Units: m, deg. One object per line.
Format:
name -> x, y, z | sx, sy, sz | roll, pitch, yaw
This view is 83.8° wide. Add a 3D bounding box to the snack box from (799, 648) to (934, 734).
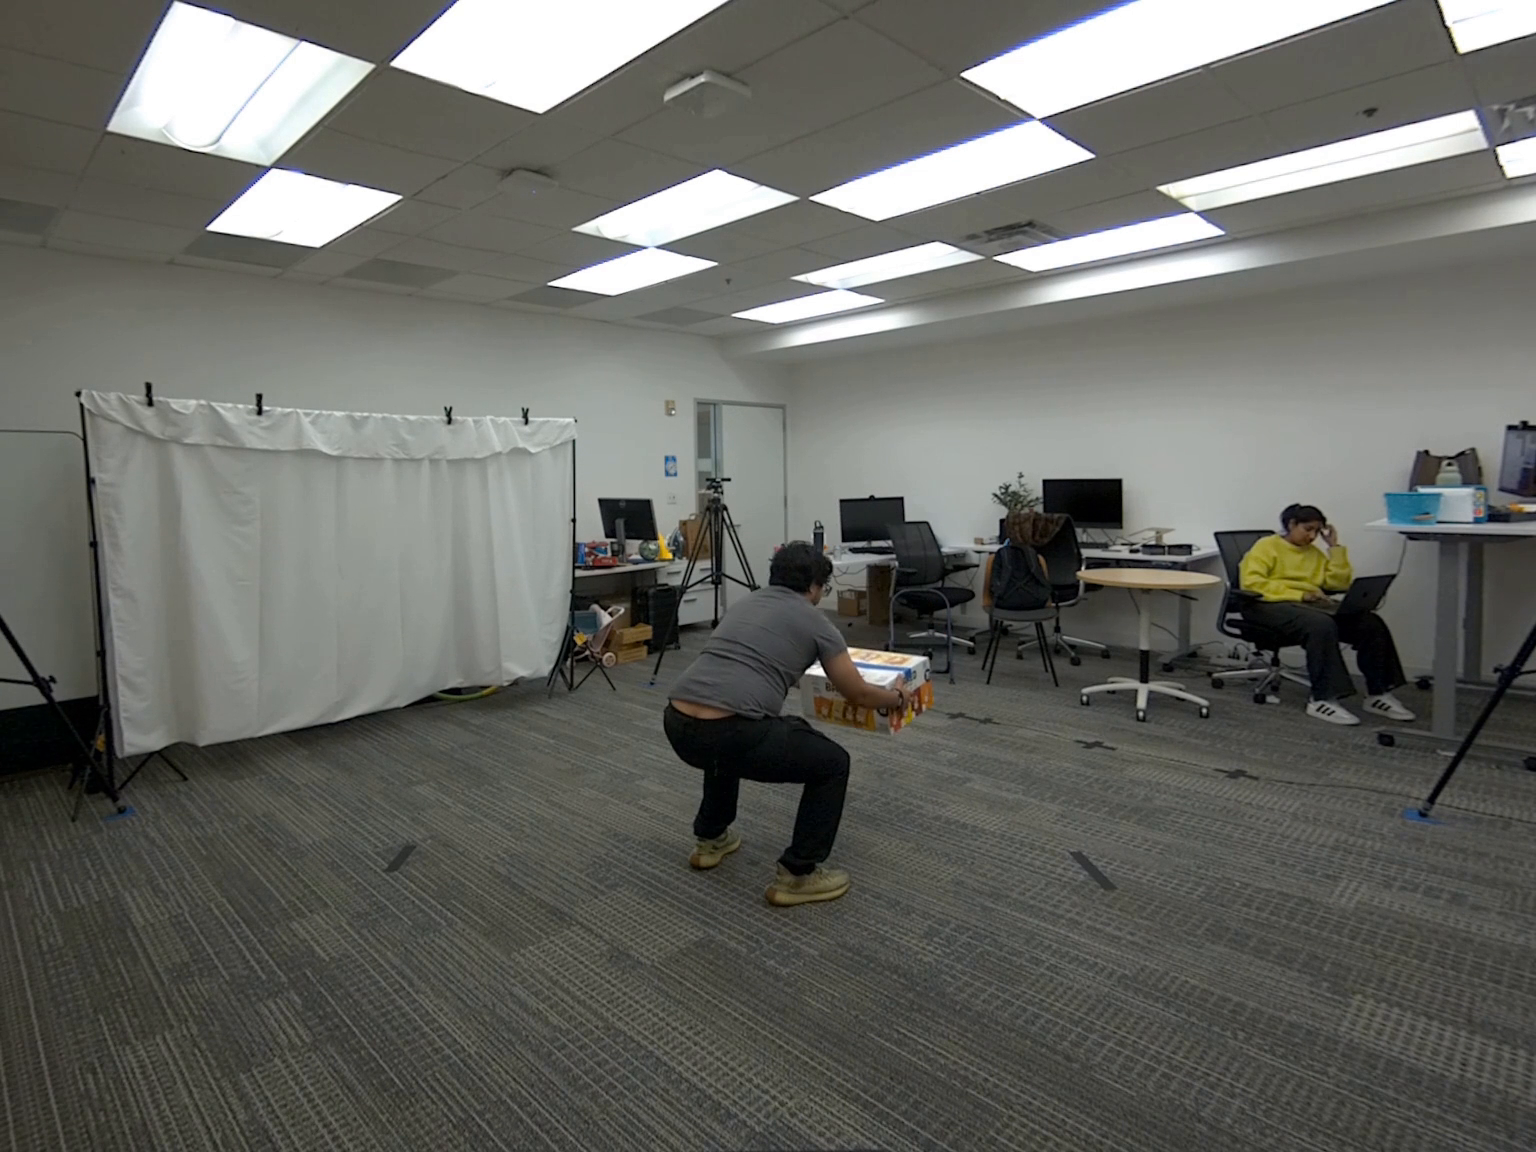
snack box -> 0.398, 0.454, 3.462 | 0.417, 0.203, 0.334 | 3, 15, 40
